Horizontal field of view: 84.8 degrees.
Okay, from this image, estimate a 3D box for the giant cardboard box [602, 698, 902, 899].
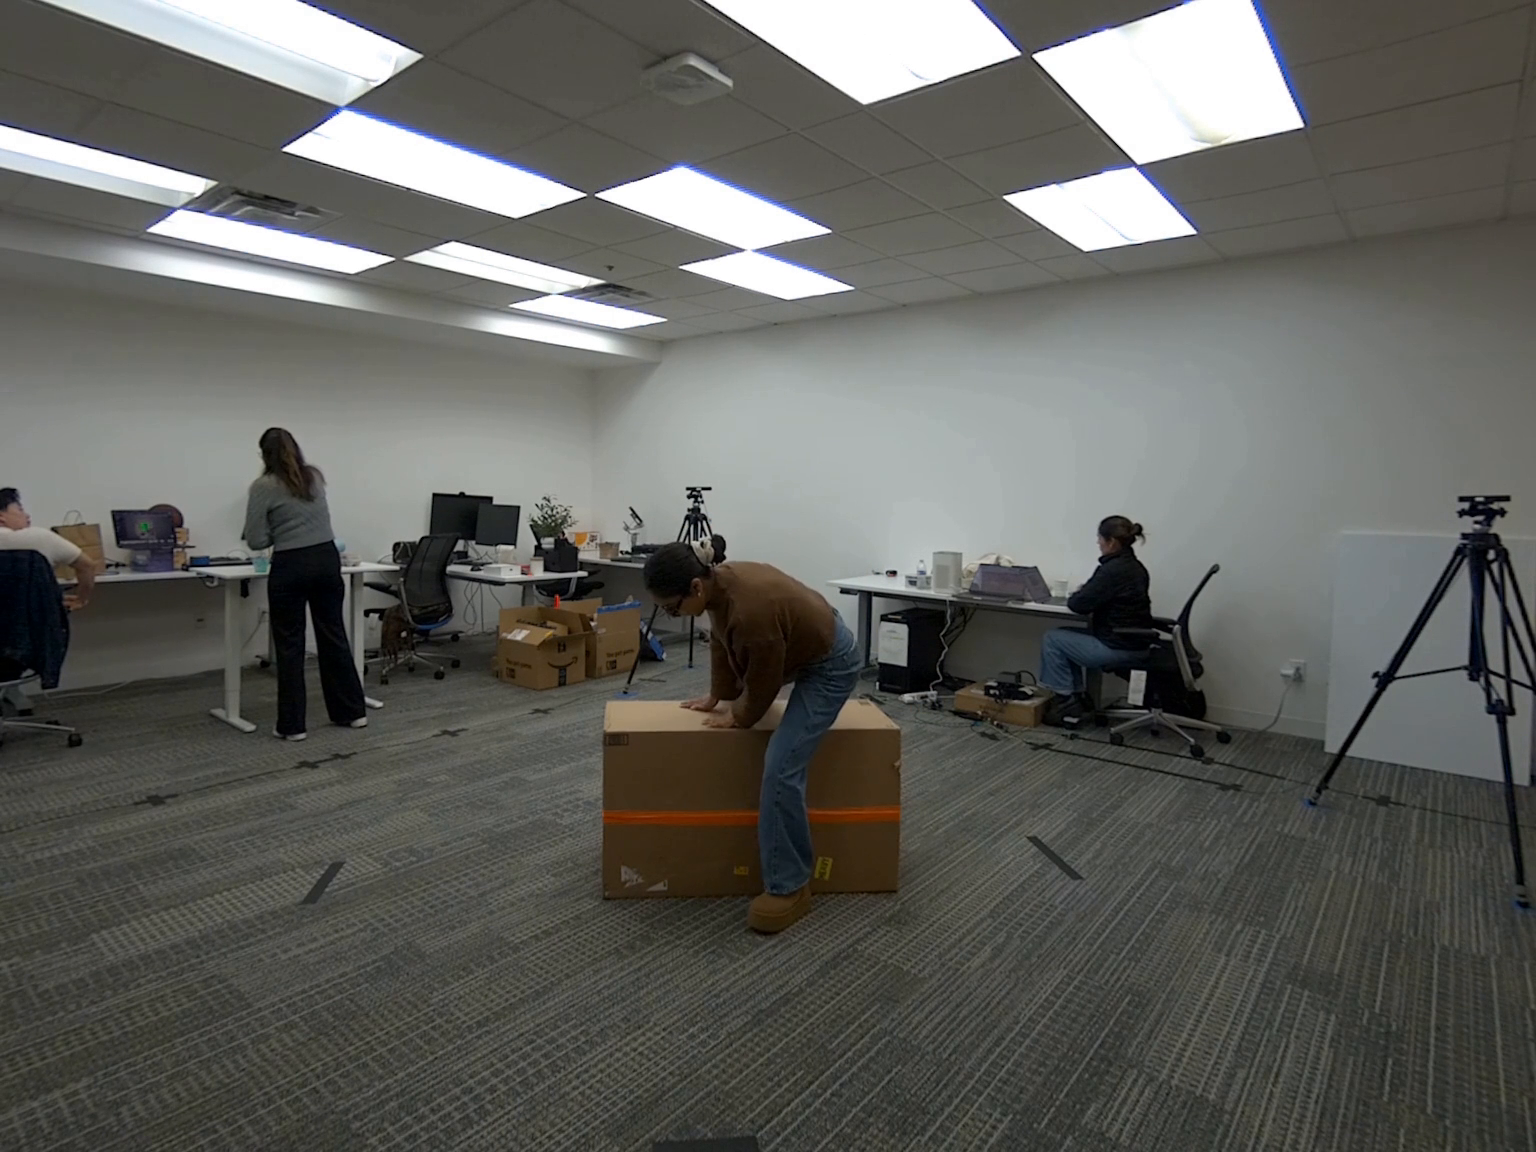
[{"bbox_3d":[-0.086,0.785,3.091,1.021,0.583,0.450,0,3,-5],"label":"giant cardboard box"}]
